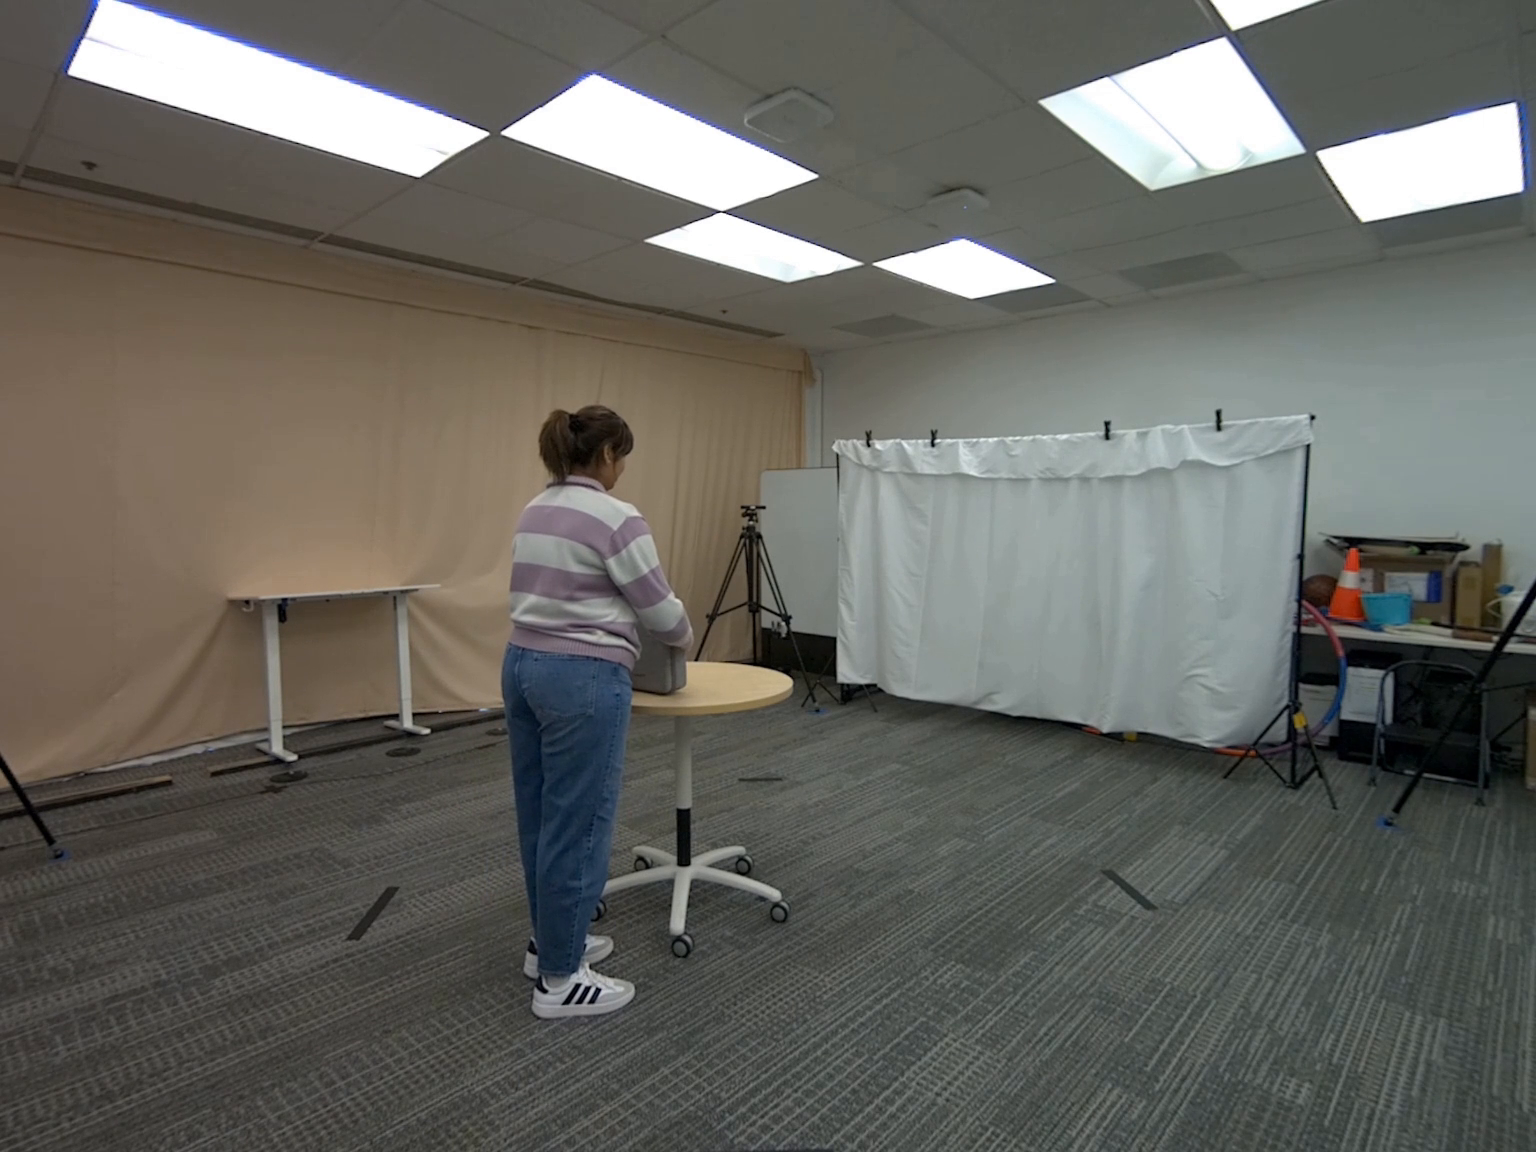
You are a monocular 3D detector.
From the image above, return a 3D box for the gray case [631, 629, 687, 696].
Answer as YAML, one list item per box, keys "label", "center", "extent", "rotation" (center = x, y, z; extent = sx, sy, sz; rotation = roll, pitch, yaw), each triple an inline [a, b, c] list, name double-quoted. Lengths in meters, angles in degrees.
- label: "gray case"
  center: [-0.394, 0.242, 2.772]
  extent: [0.265, 0.260, 0.101]
  rotation: [-1, 1, 42]
